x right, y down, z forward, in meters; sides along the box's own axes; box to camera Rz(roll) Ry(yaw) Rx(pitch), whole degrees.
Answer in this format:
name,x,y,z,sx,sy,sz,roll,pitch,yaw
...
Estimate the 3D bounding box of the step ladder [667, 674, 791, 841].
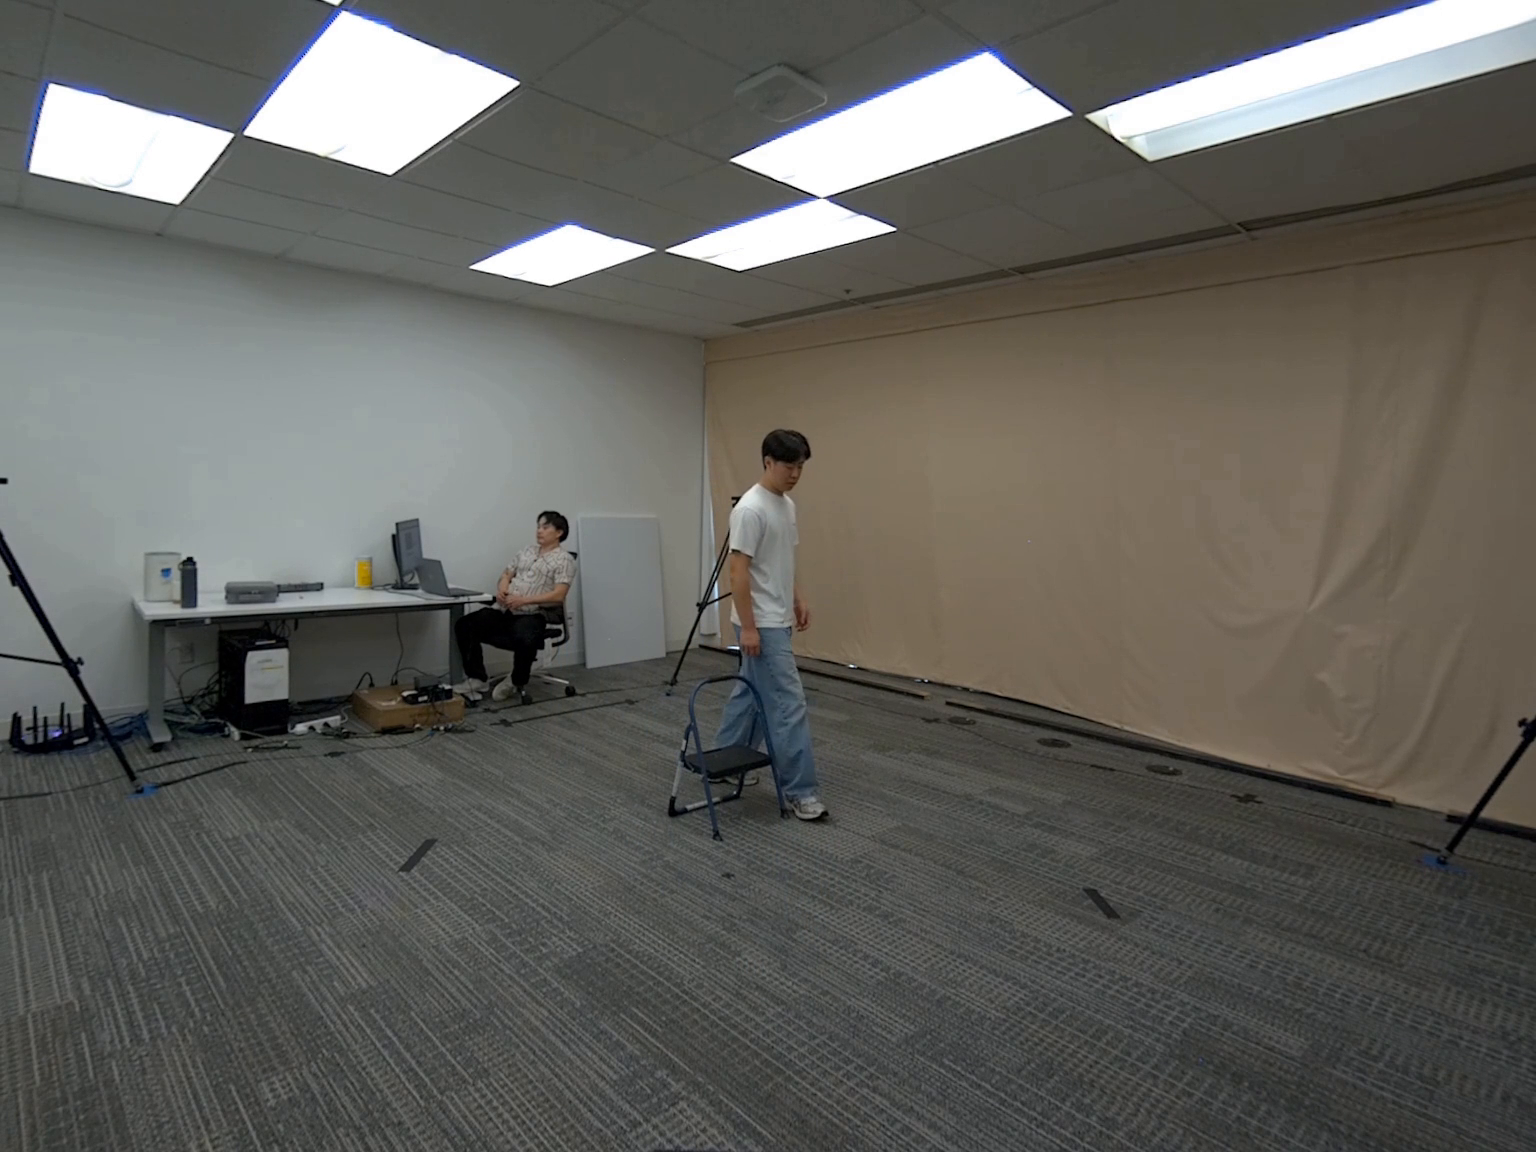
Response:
name,x,y,z,sx,sy,sz,roll,pitch,yaw
step ladder,-0.178,0.752,3.670,0.420,0.605,0.358,-2,5,-44
